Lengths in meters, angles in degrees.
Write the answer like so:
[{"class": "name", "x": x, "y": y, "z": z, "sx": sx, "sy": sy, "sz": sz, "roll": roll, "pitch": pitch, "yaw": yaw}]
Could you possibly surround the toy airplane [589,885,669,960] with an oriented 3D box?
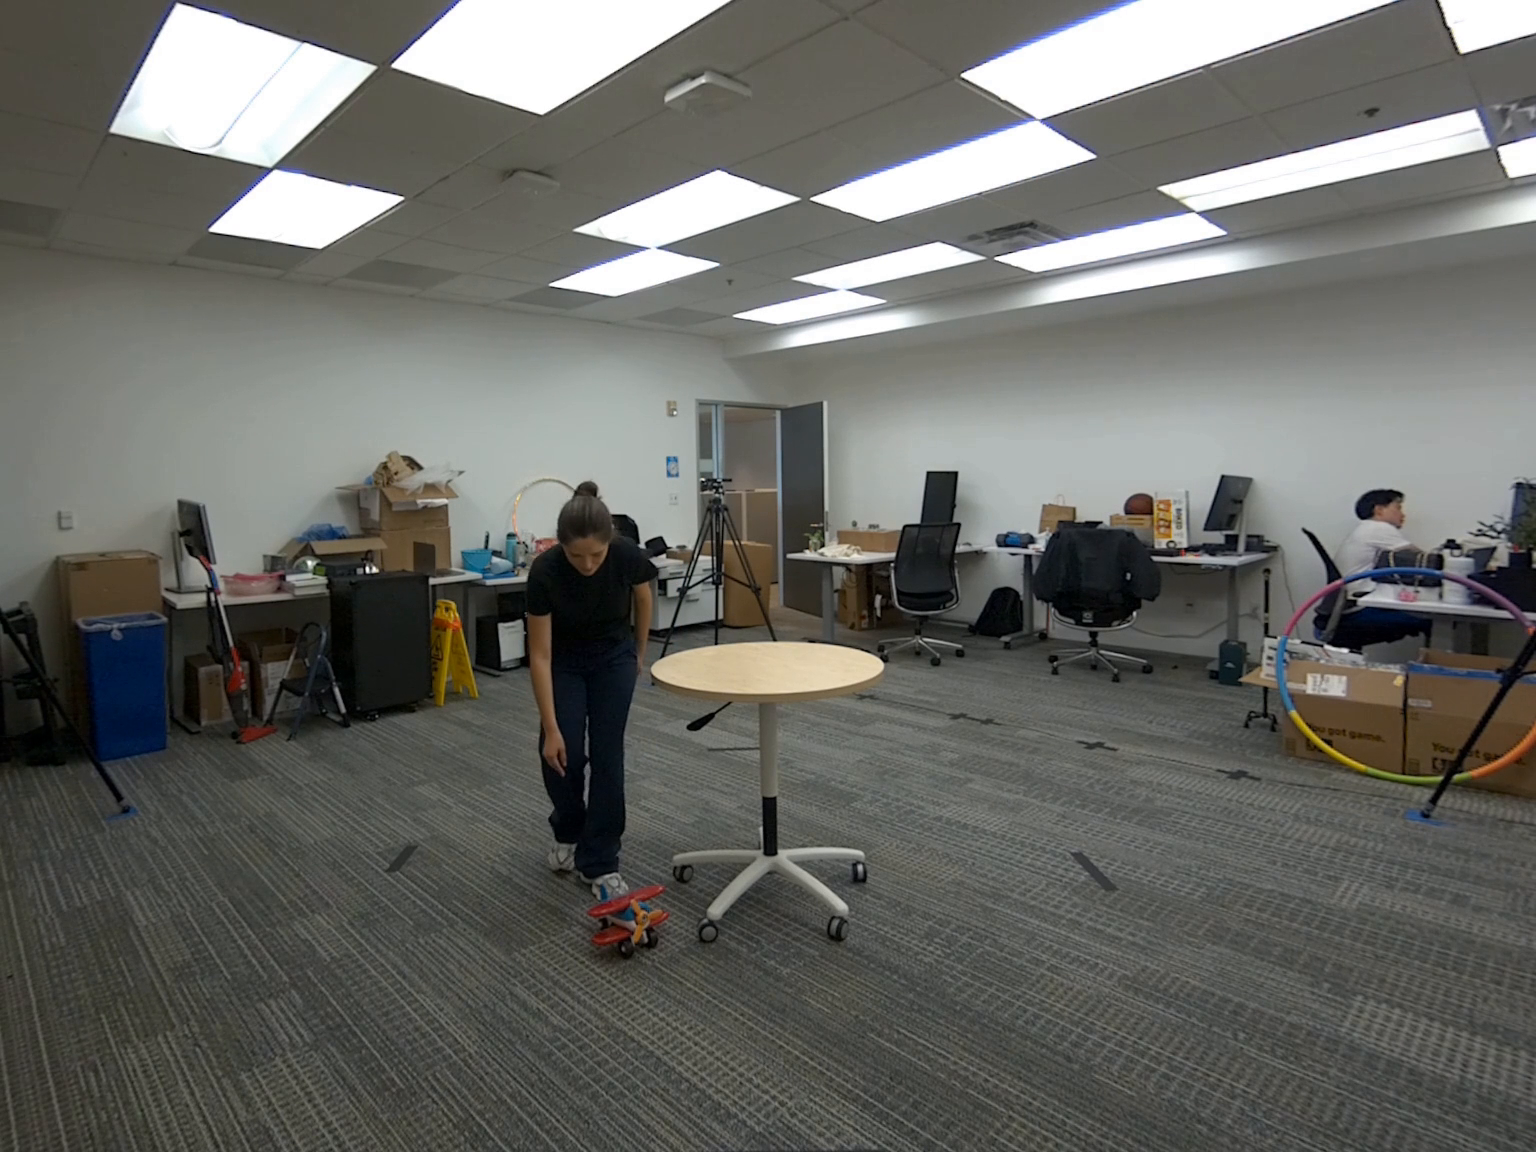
[{"class": "toy airplane", "x": -0.450, "y": 1.039, "z": 2.600, "sx": 0.265, "sy": 0.155, "sz": 0.247, "roll": 3, "pitch": 8, "yaw": 23}]
